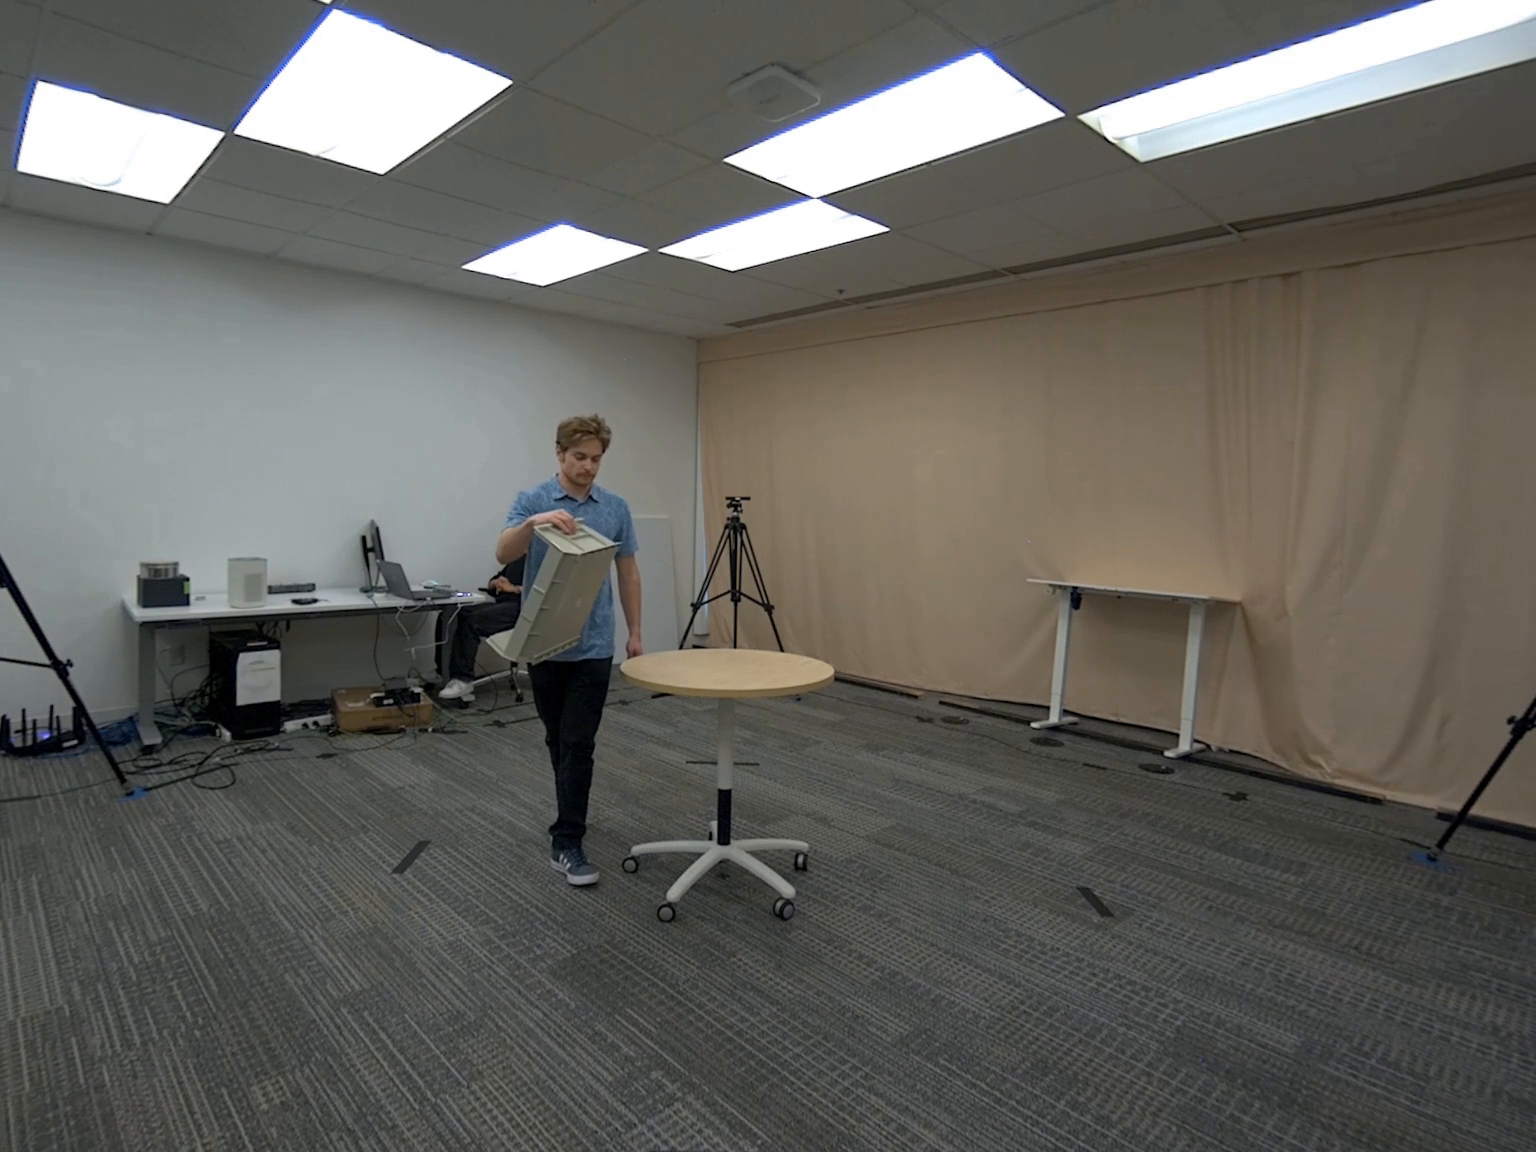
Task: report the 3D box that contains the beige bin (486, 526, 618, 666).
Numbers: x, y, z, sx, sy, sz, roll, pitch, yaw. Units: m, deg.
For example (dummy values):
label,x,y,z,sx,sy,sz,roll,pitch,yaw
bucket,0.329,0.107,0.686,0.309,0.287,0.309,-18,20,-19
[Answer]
label,x,y,z,sx,sy,sz,roll,pitch,yaw
beige bin,-0.729,0.046,2.800,0.191,0.420,0.374,28,14,11
